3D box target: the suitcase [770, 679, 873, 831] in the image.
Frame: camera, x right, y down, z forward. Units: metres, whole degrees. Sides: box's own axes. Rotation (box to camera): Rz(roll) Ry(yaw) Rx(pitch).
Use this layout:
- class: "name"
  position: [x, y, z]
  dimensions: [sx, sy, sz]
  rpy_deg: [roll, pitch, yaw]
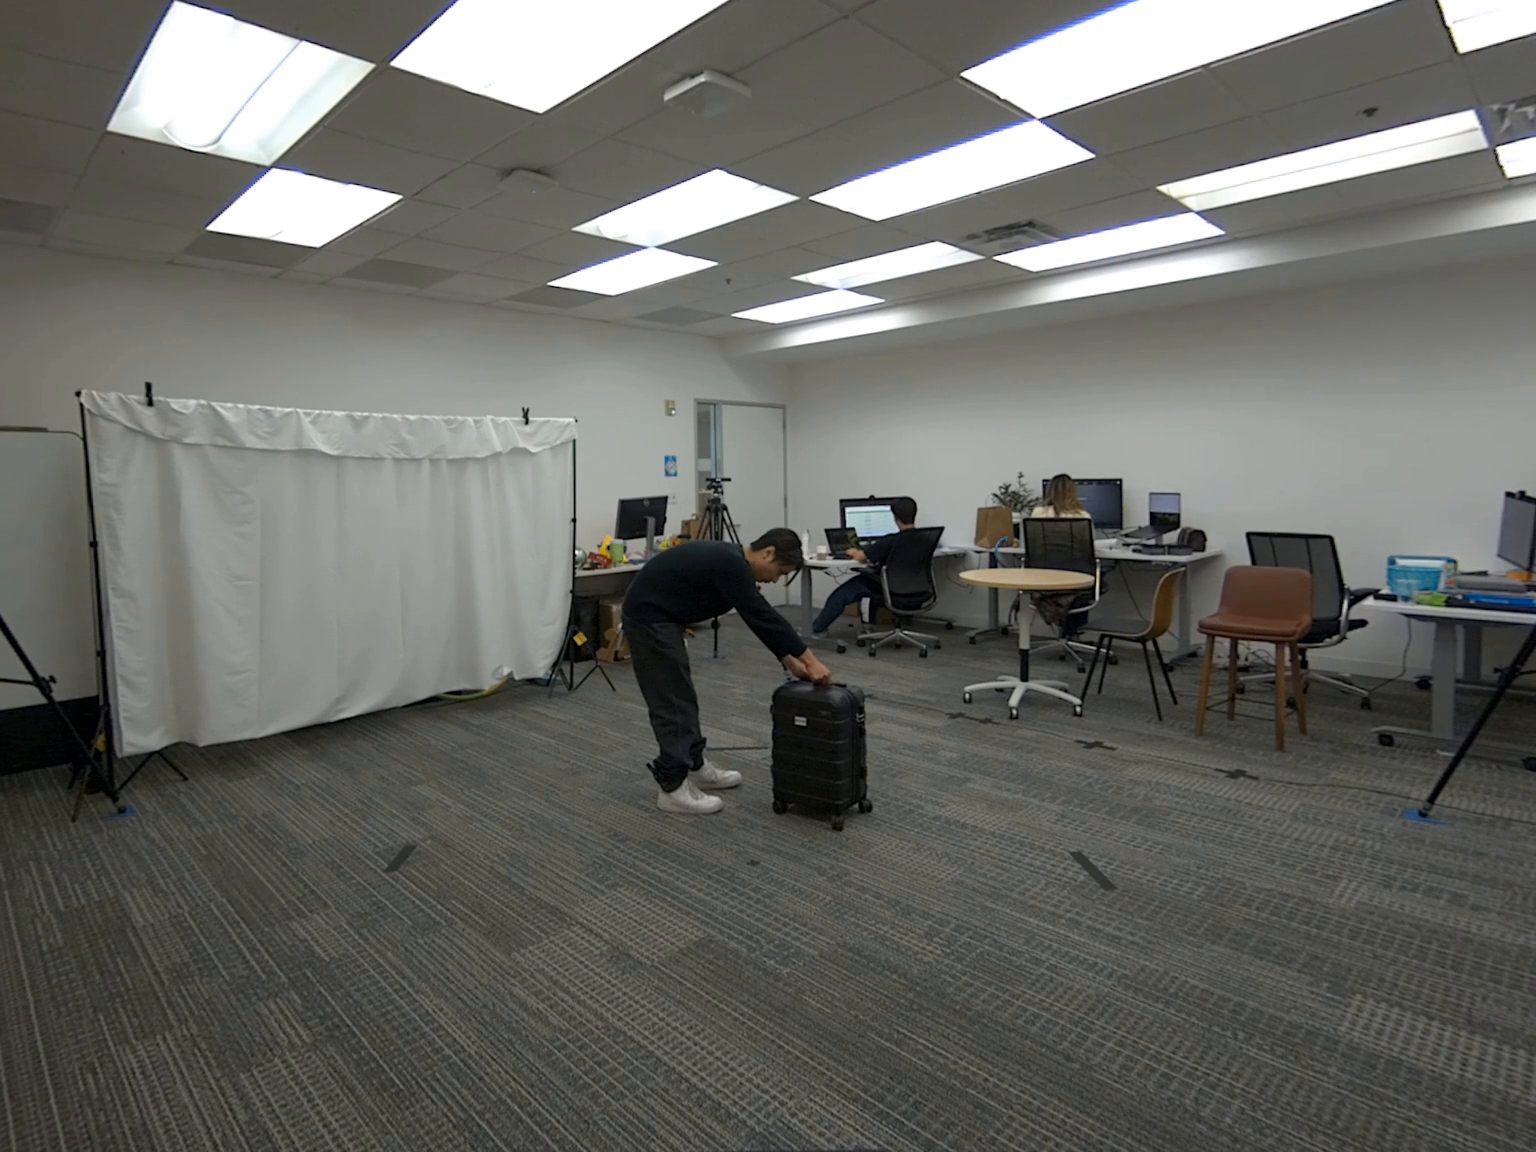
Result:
- class: "suitcase"
  position: [0.222, 0.714, 3.558]
  dimensions: [0.386, 0.548, 0.242]
  rpy_deg: [1, 4, 37]
